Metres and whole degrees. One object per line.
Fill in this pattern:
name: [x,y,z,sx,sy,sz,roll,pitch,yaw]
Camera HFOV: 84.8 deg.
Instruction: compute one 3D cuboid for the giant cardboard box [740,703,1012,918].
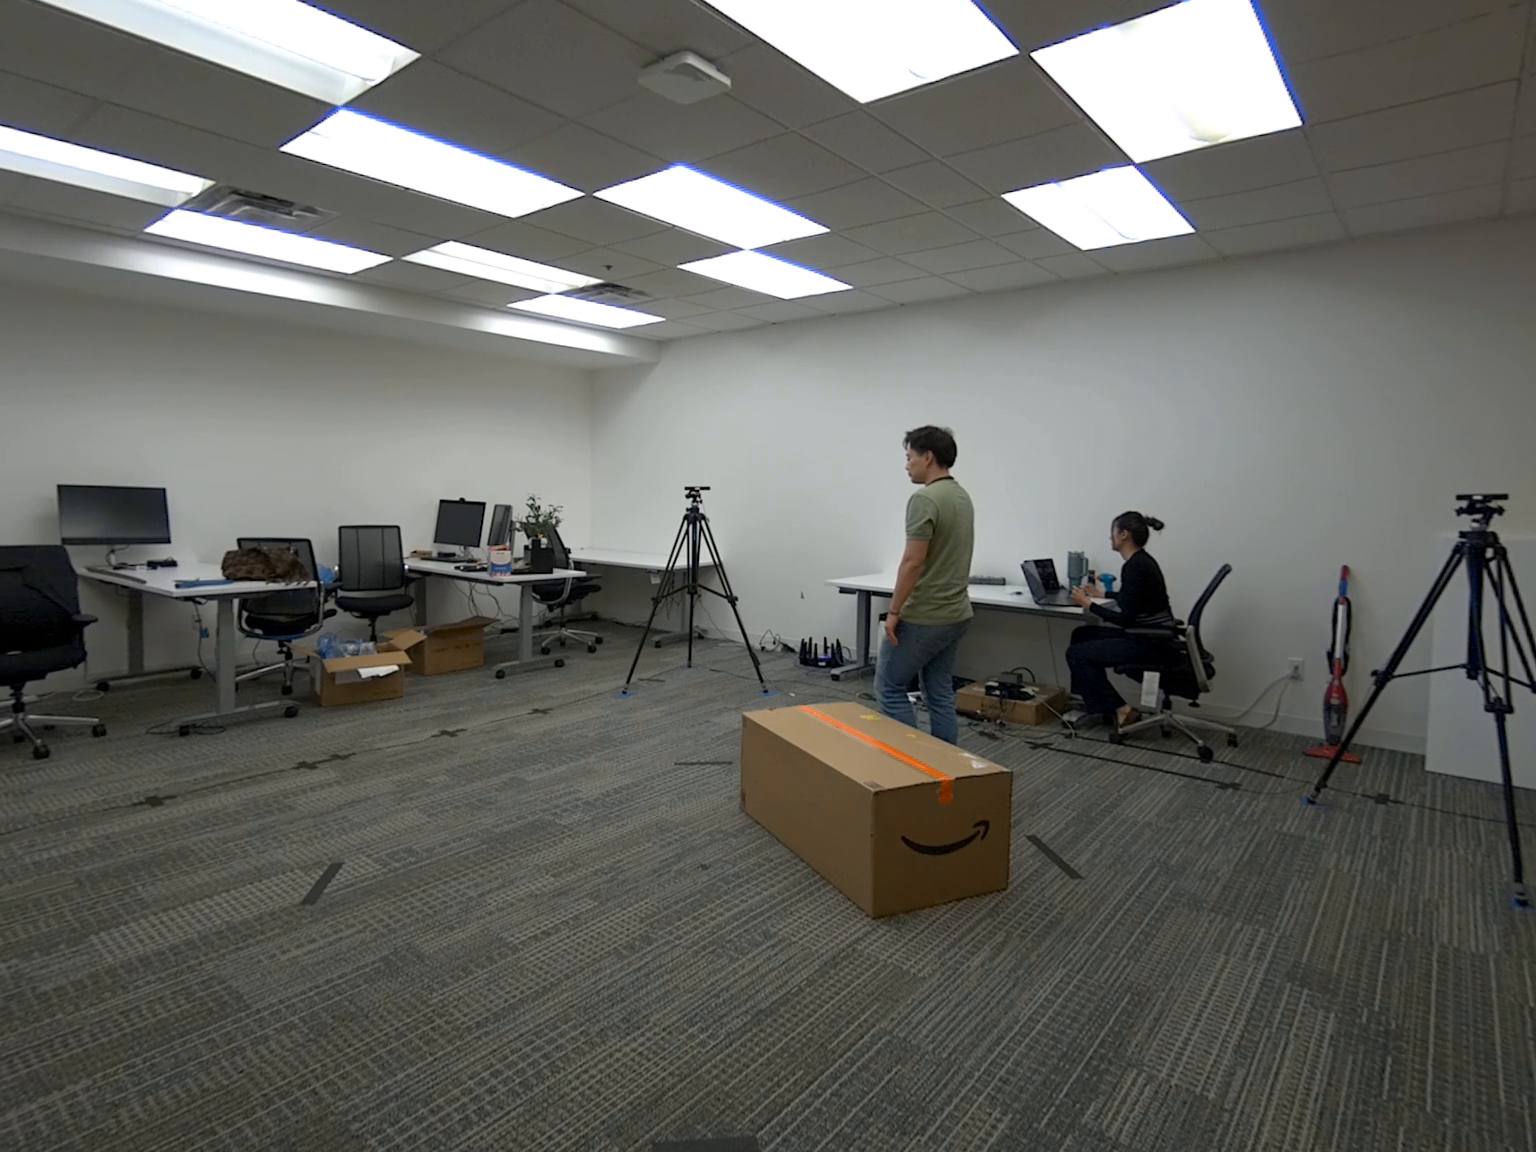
giant cardboard box: [0.354,0.836,3.324,0.563,0.425,1.055,0,5,-26]
